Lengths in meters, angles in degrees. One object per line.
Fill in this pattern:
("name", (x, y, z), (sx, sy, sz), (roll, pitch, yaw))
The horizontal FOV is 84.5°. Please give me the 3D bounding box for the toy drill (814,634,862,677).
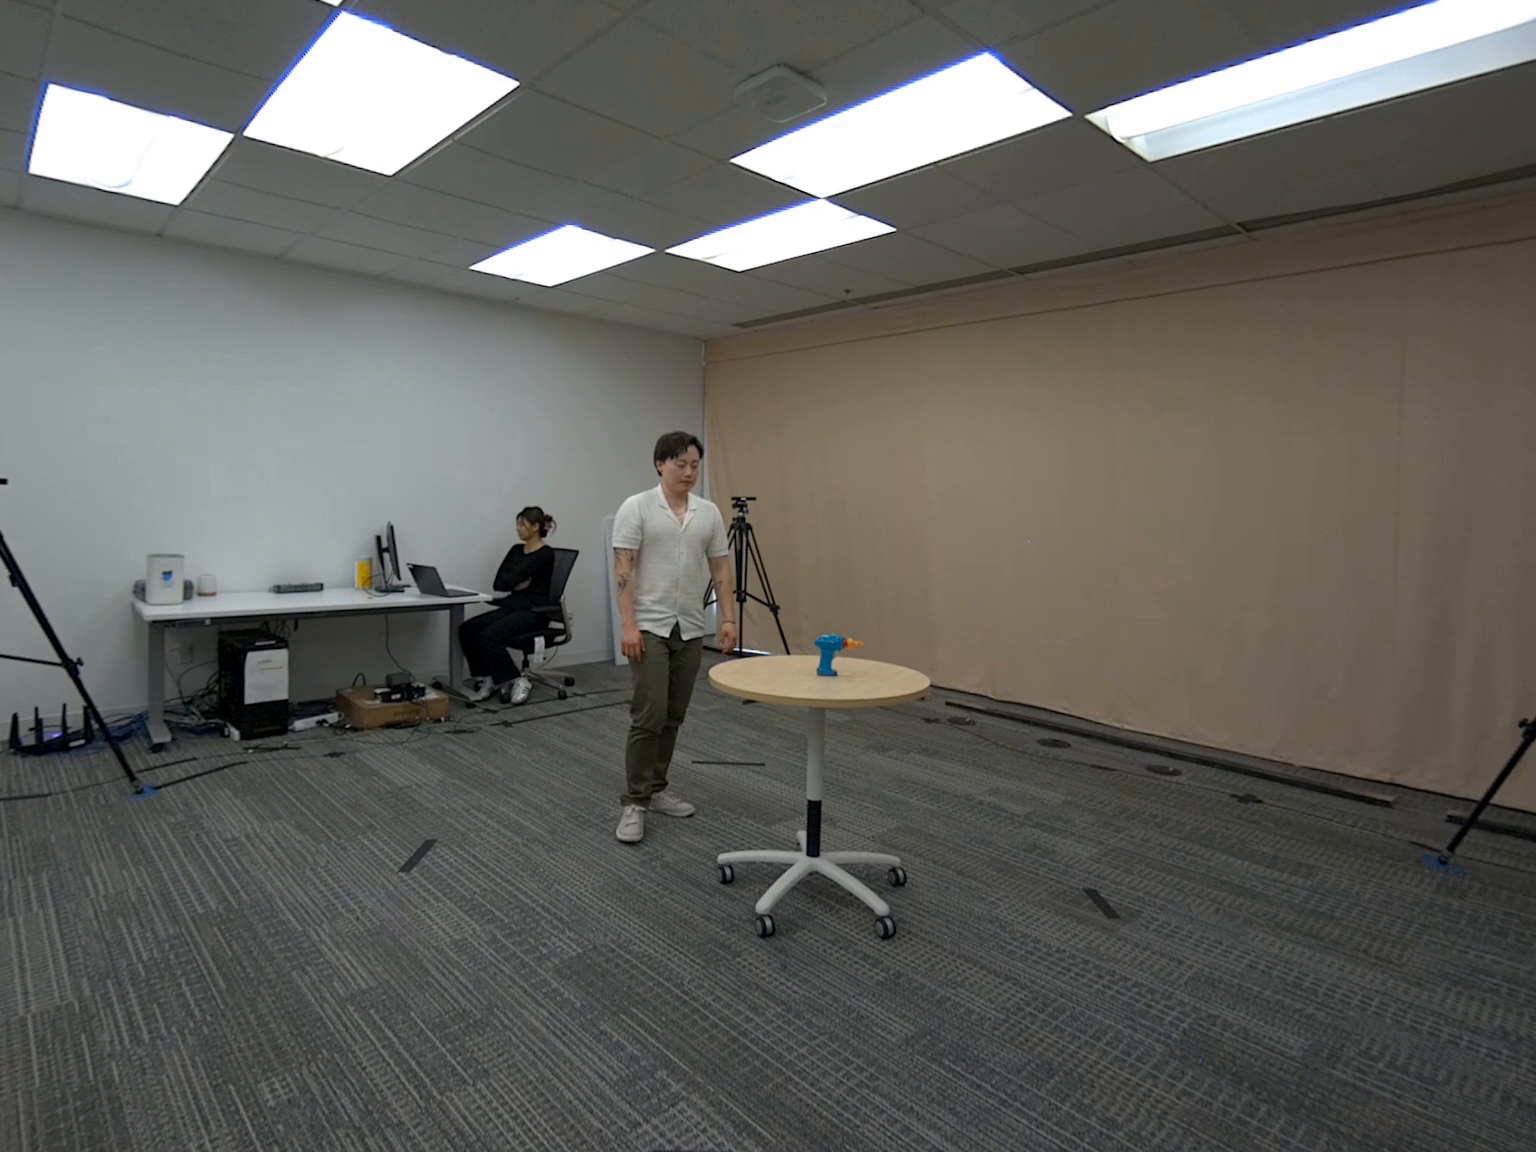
("toy drill", (0.239, 0.274, 2.940), (0.170, 0.146, 0.061), (1, 2, -1))
